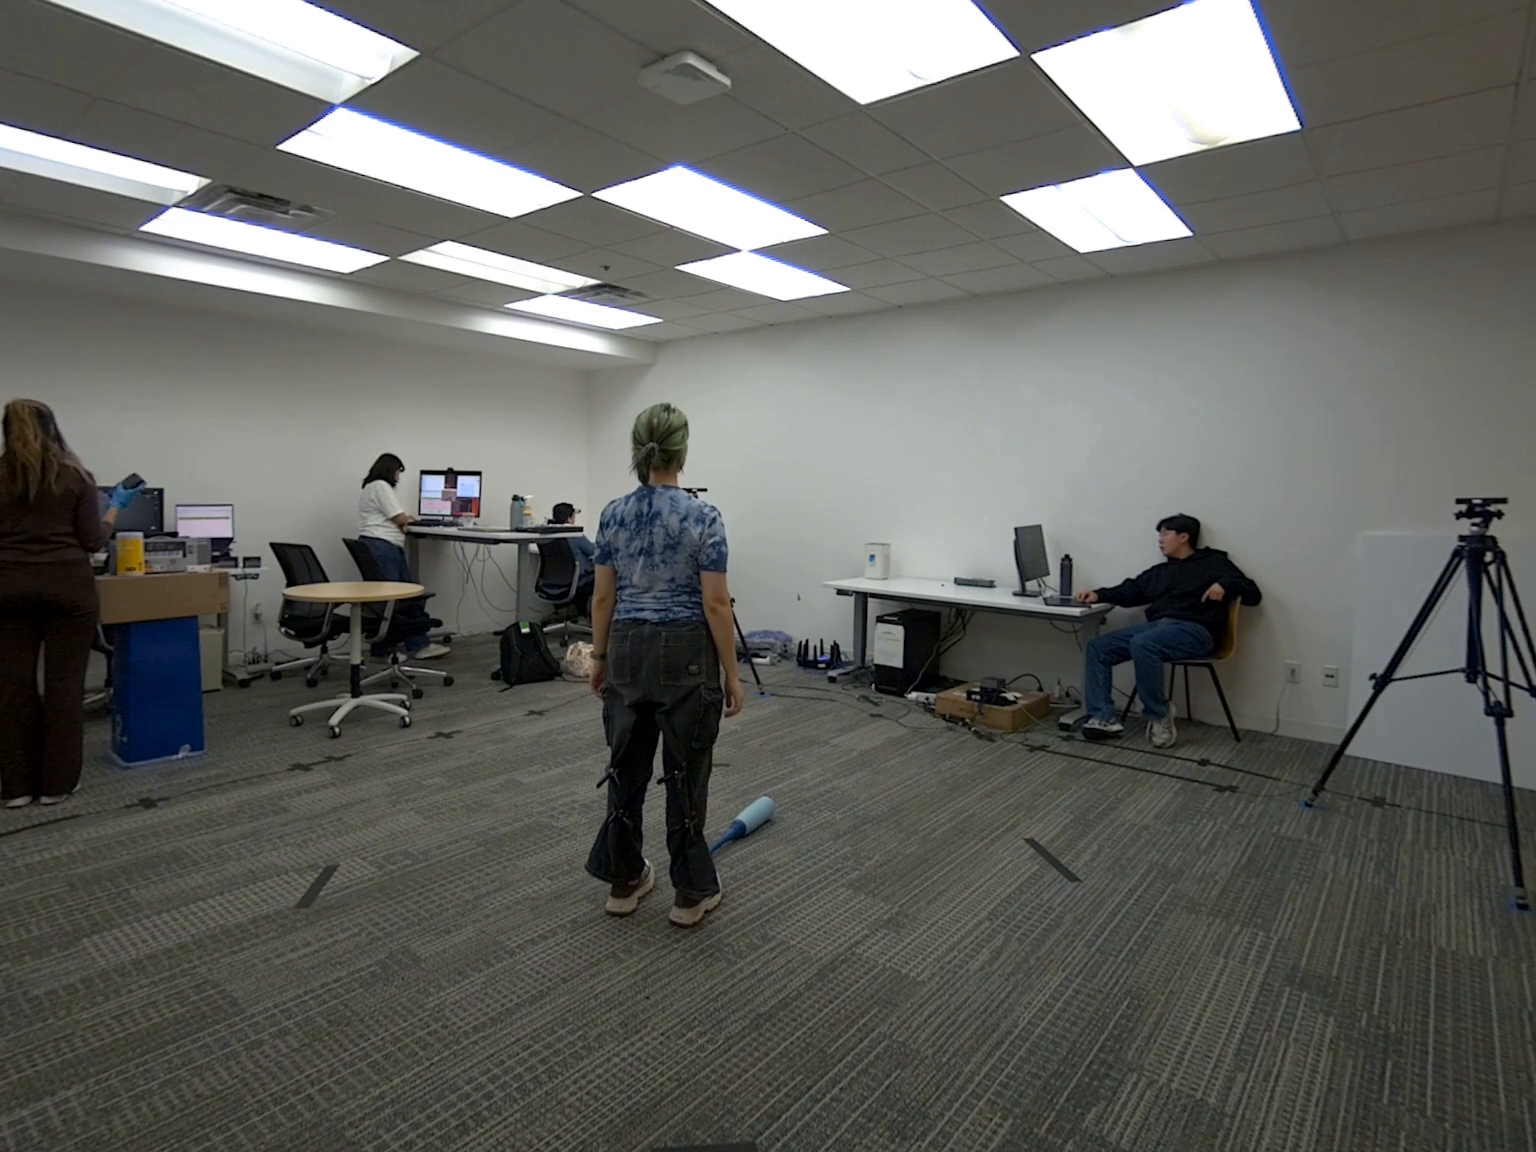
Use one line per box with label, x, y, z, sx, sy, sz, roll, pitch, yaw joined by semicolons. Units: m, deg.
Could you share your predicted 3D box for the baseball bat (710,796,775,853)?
baseball bat;-0.135;1.013;3.384;0.091;0.088;0.531;3;9;28
